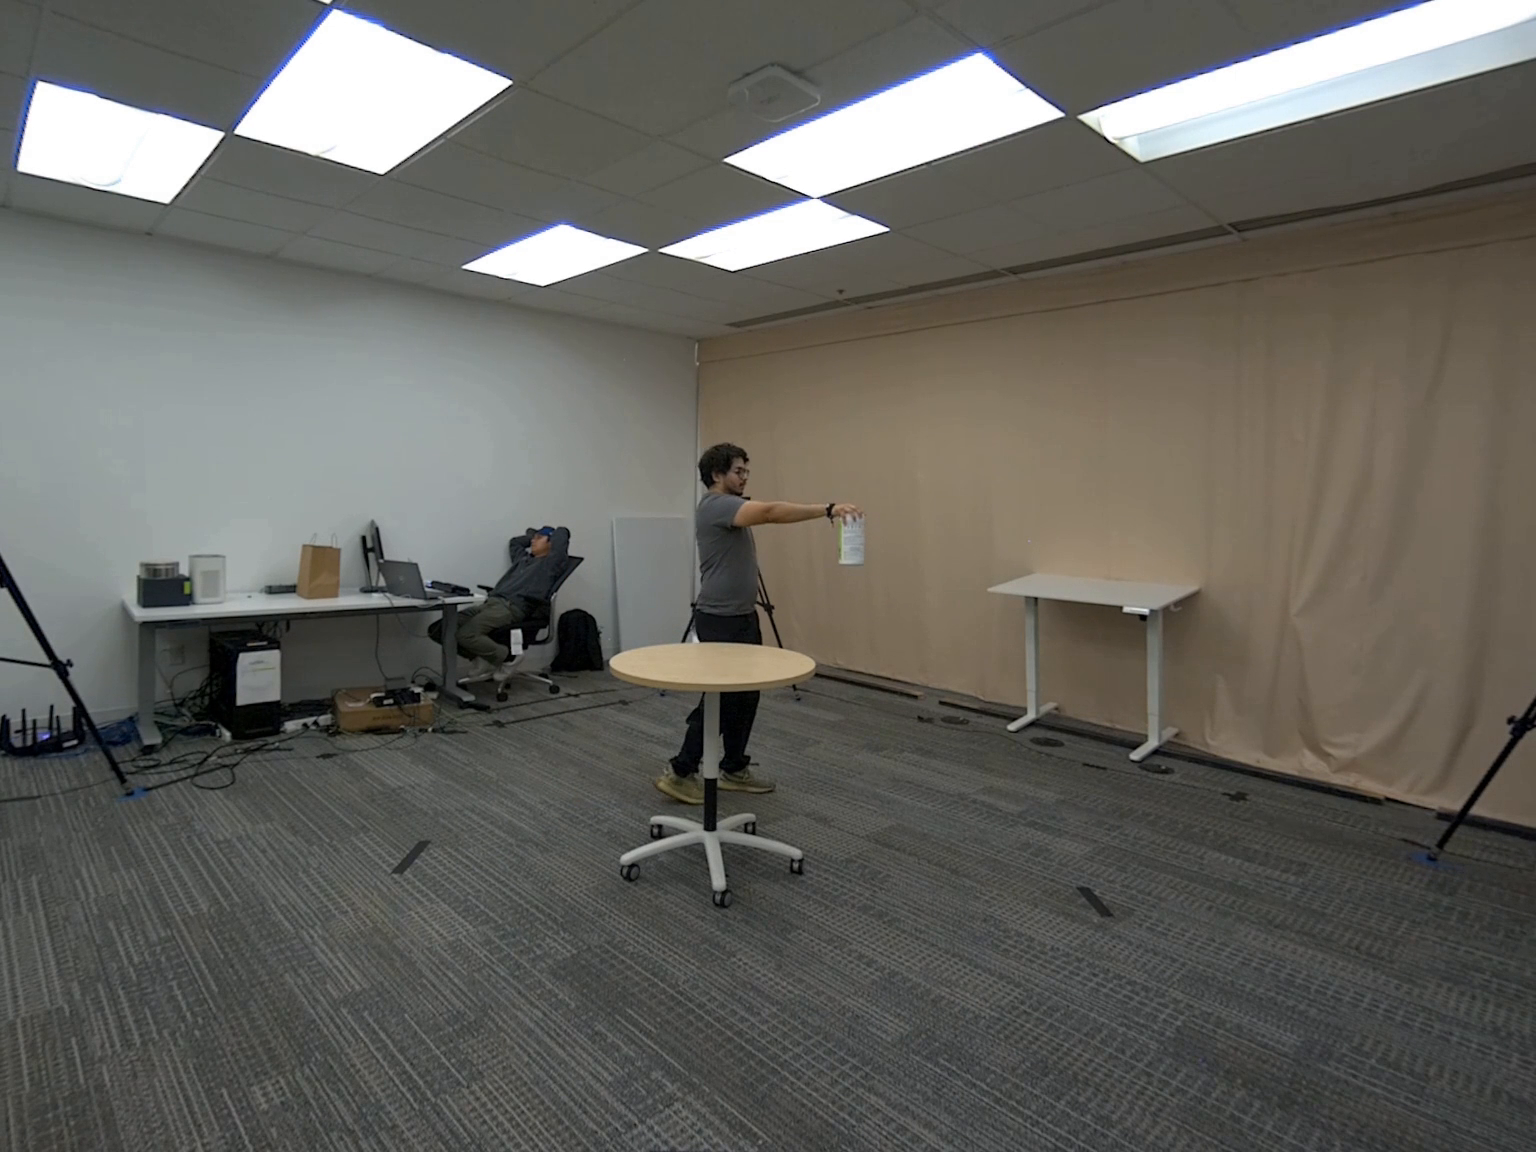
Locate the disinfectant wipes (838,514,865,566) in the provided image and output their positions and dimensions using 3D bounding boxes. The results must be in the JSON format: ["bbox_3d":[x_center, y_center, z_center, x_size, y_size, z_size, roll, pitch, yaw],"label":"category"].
[{"bbox_3d":[0.341,-0.154,3.541,0.118,0.217,0.118,1,1,-1],"label":"disinfectant wipes"}]
